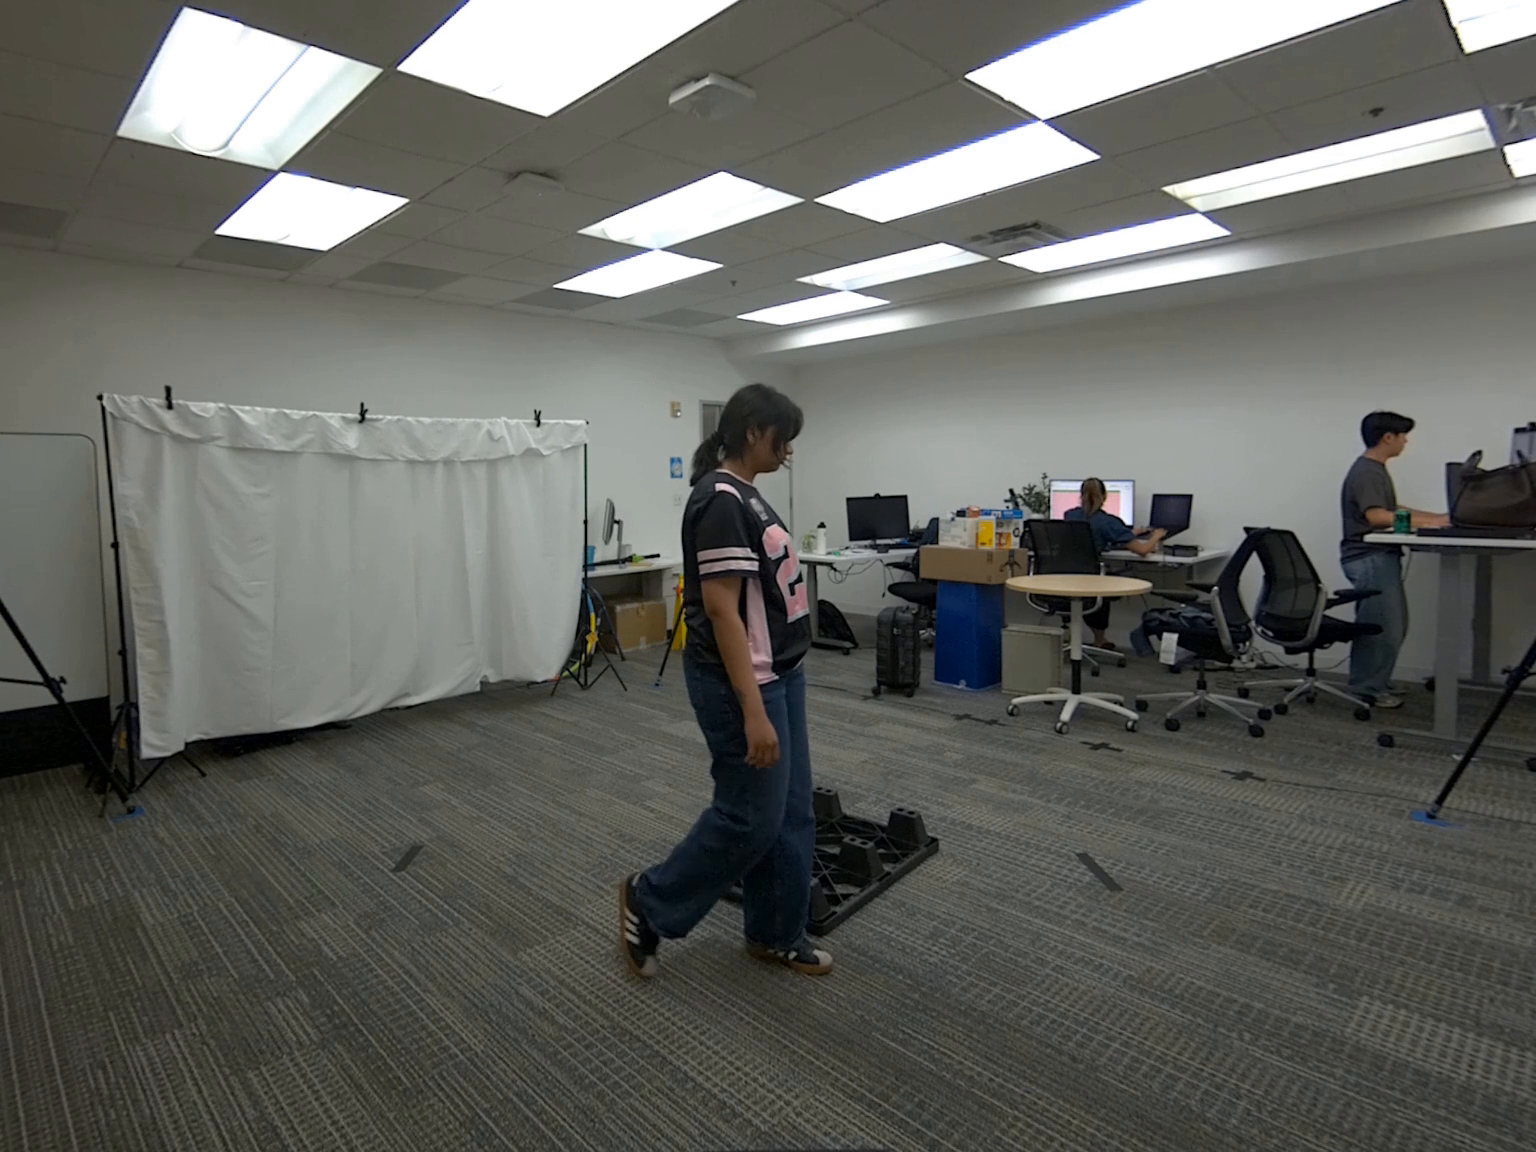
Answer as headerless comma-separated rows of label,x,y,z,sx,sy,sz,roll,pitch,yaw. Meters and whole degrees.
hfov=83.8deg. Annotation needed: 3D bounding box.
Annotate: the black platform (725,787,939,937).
black platform,0.171,0.982,3.082,0.623,0.142,0.785,3,8,39
